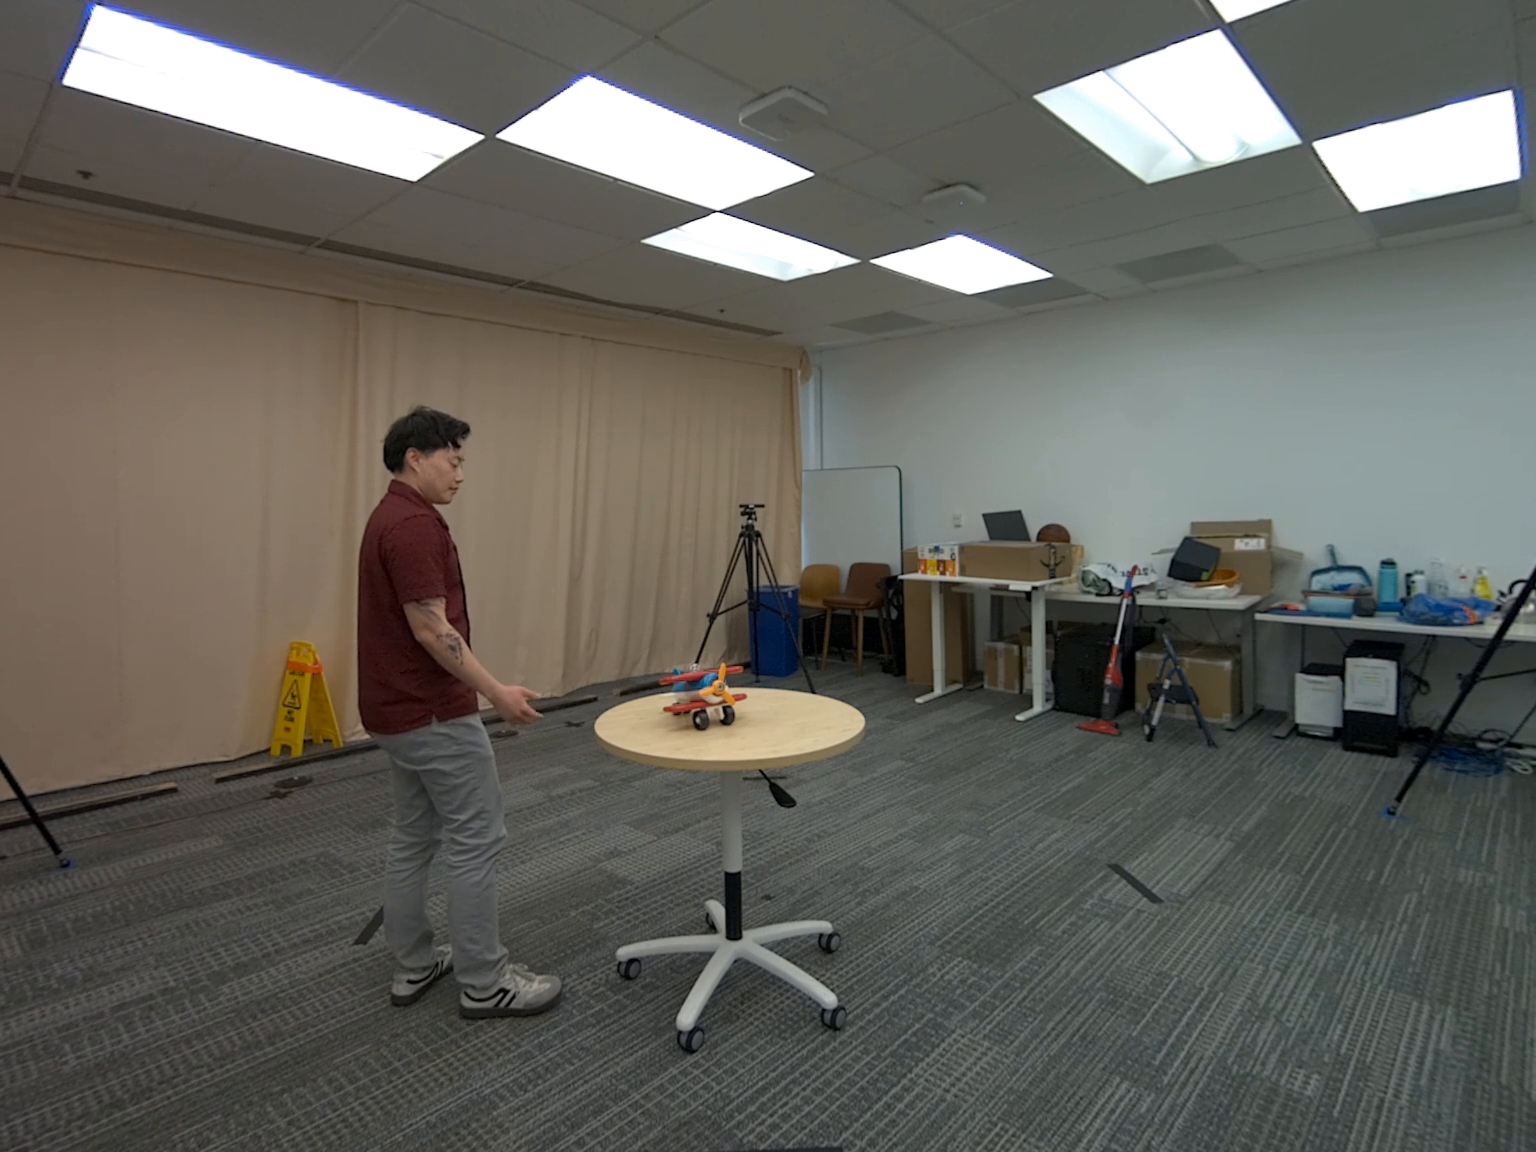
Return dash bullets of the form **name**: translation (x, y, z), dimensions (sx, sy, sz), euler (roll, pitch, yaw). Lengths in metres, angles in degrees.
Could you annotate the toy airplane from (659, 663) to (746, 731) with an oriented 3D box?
- **toy airplane**: translation (-0.209, 0.336, 2.370), dimensions (0.267, 0.156, 0.245), euler (2, 7, 30)
